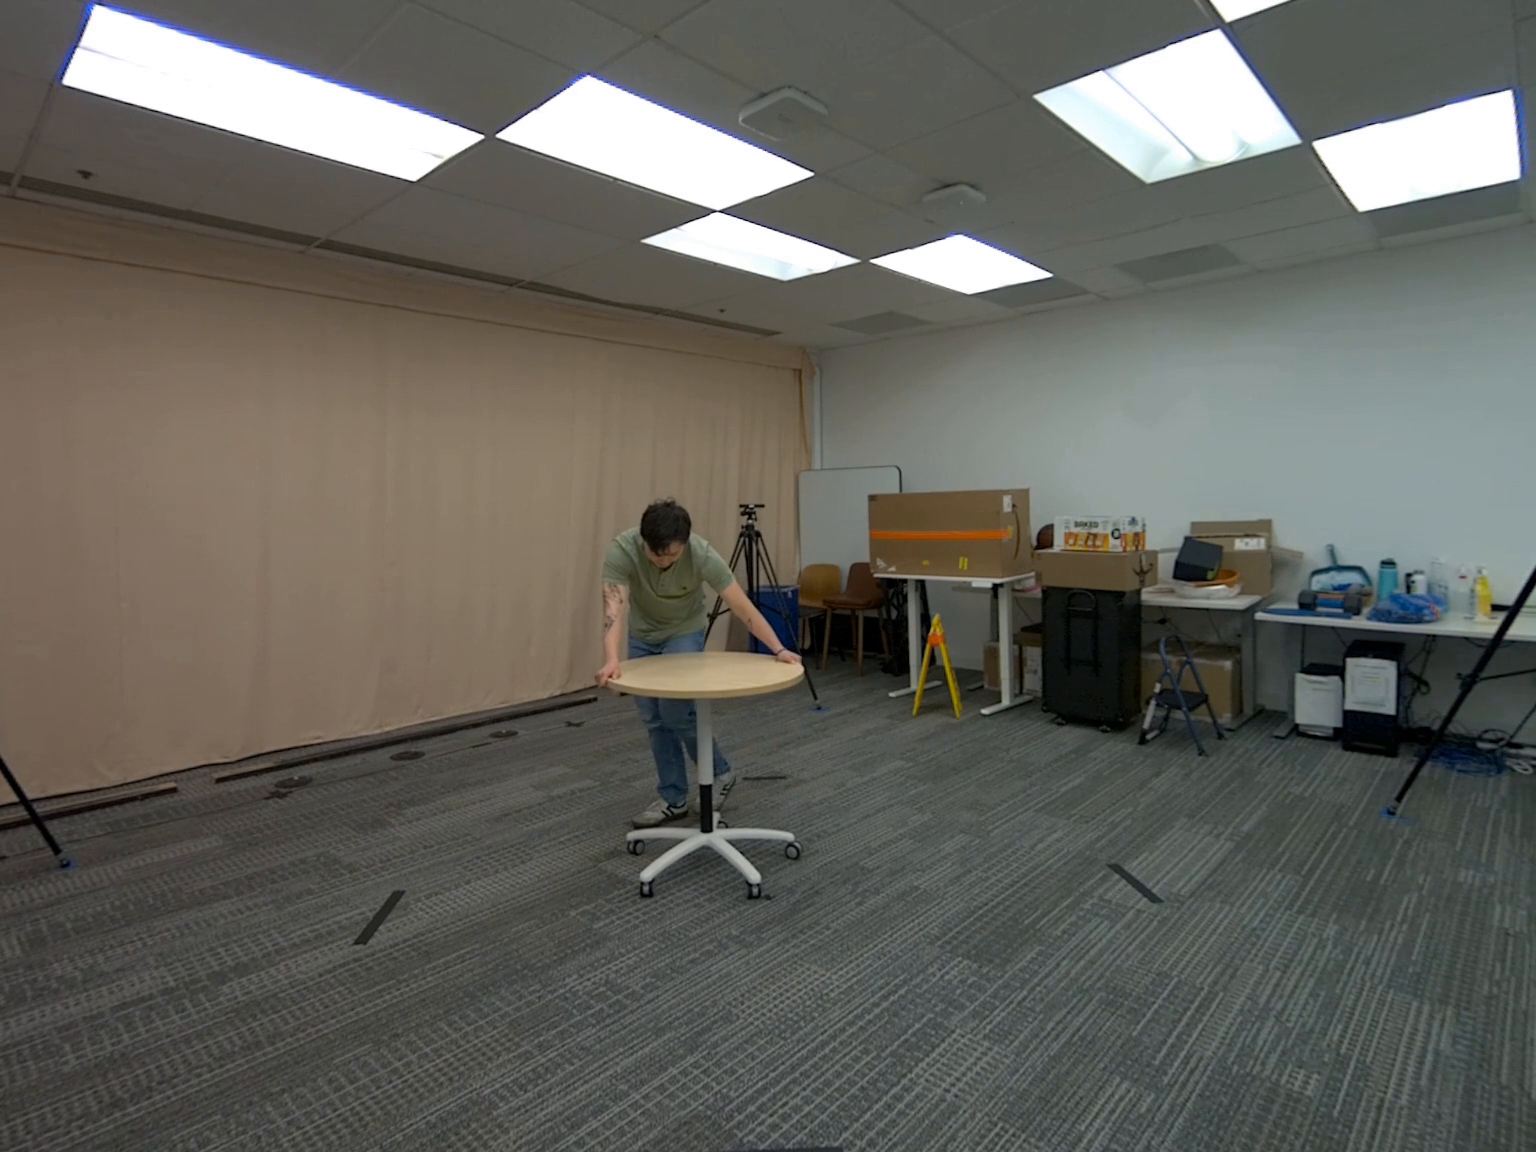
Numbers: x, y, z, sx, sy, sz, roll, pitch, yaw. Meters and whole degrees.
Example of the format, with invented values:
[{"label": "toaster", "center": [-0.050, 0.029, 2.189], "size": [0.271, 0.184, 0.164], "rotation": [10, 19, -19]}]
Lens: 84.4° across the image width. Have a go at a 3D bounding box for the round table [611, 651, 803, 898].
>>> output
[{"label": "round table", "center": [-0.235, 0.742, 3.229], "size": [0.763, 0.792, 0.766], "rotation": [-1, 4, -2]}]
